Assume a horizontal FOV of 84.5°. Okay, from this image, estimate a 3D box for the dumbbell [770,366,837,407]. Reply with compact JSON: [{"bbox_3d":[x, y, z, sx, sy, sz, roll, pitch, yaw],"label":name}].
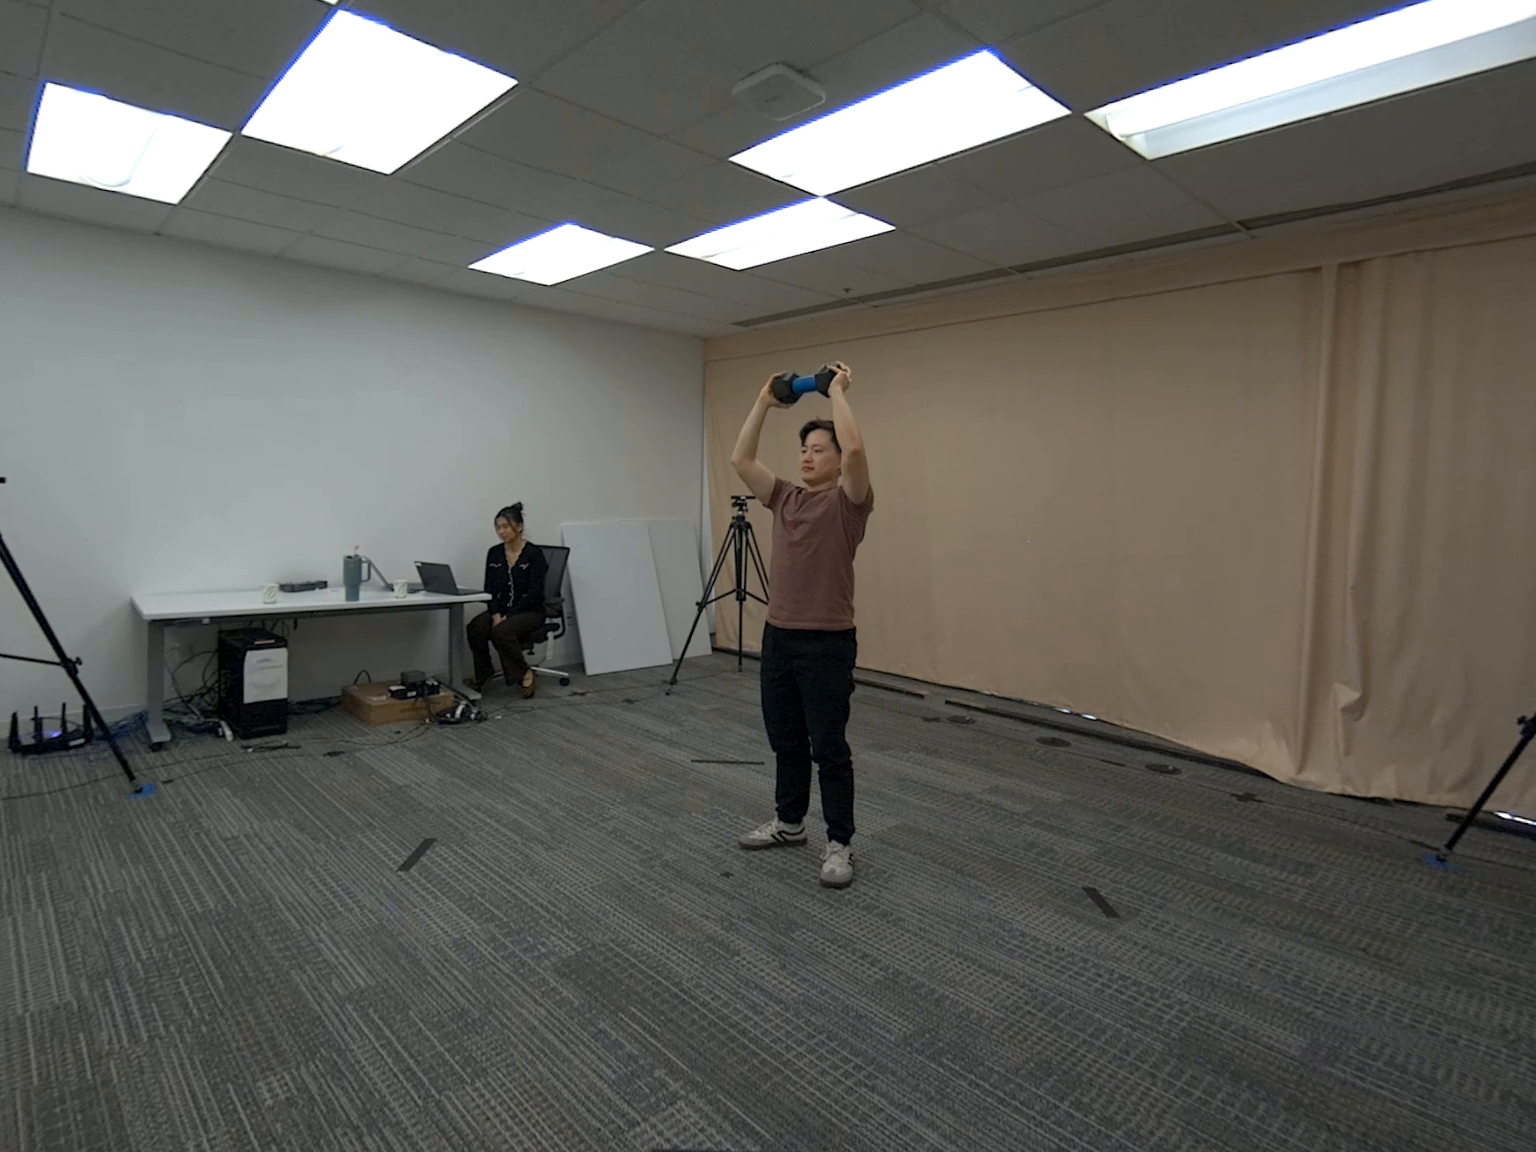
[{"bbox_3d":[0.149,-0.716,3.153,0.301,0.106,0.123,2,45,44],"label":"dumbbell"}]
